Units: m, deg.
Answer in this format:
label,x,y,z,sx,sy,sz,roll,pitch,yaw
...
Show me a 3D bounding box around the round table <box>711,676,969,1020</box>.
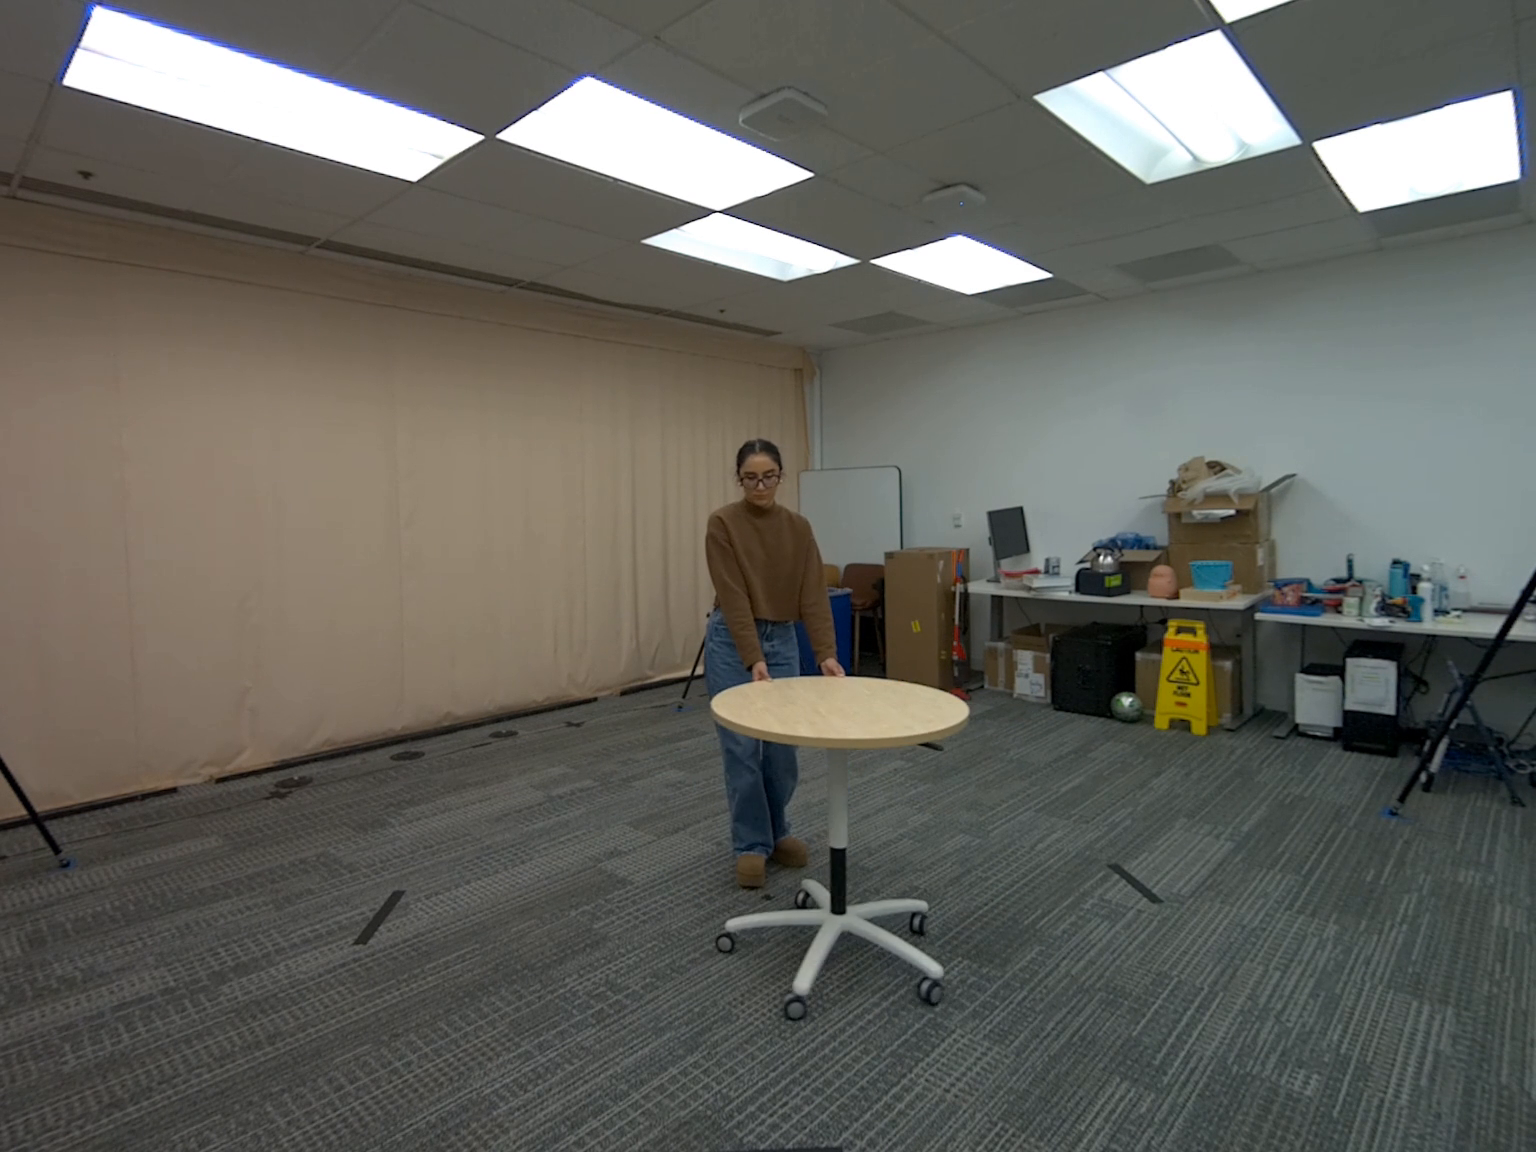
label,x,y,z,sx,sy,sz,roll,pitch,yaw
round table,0.201,0.772,2.578,0.784,0.785,0.788,-1,4,-2
